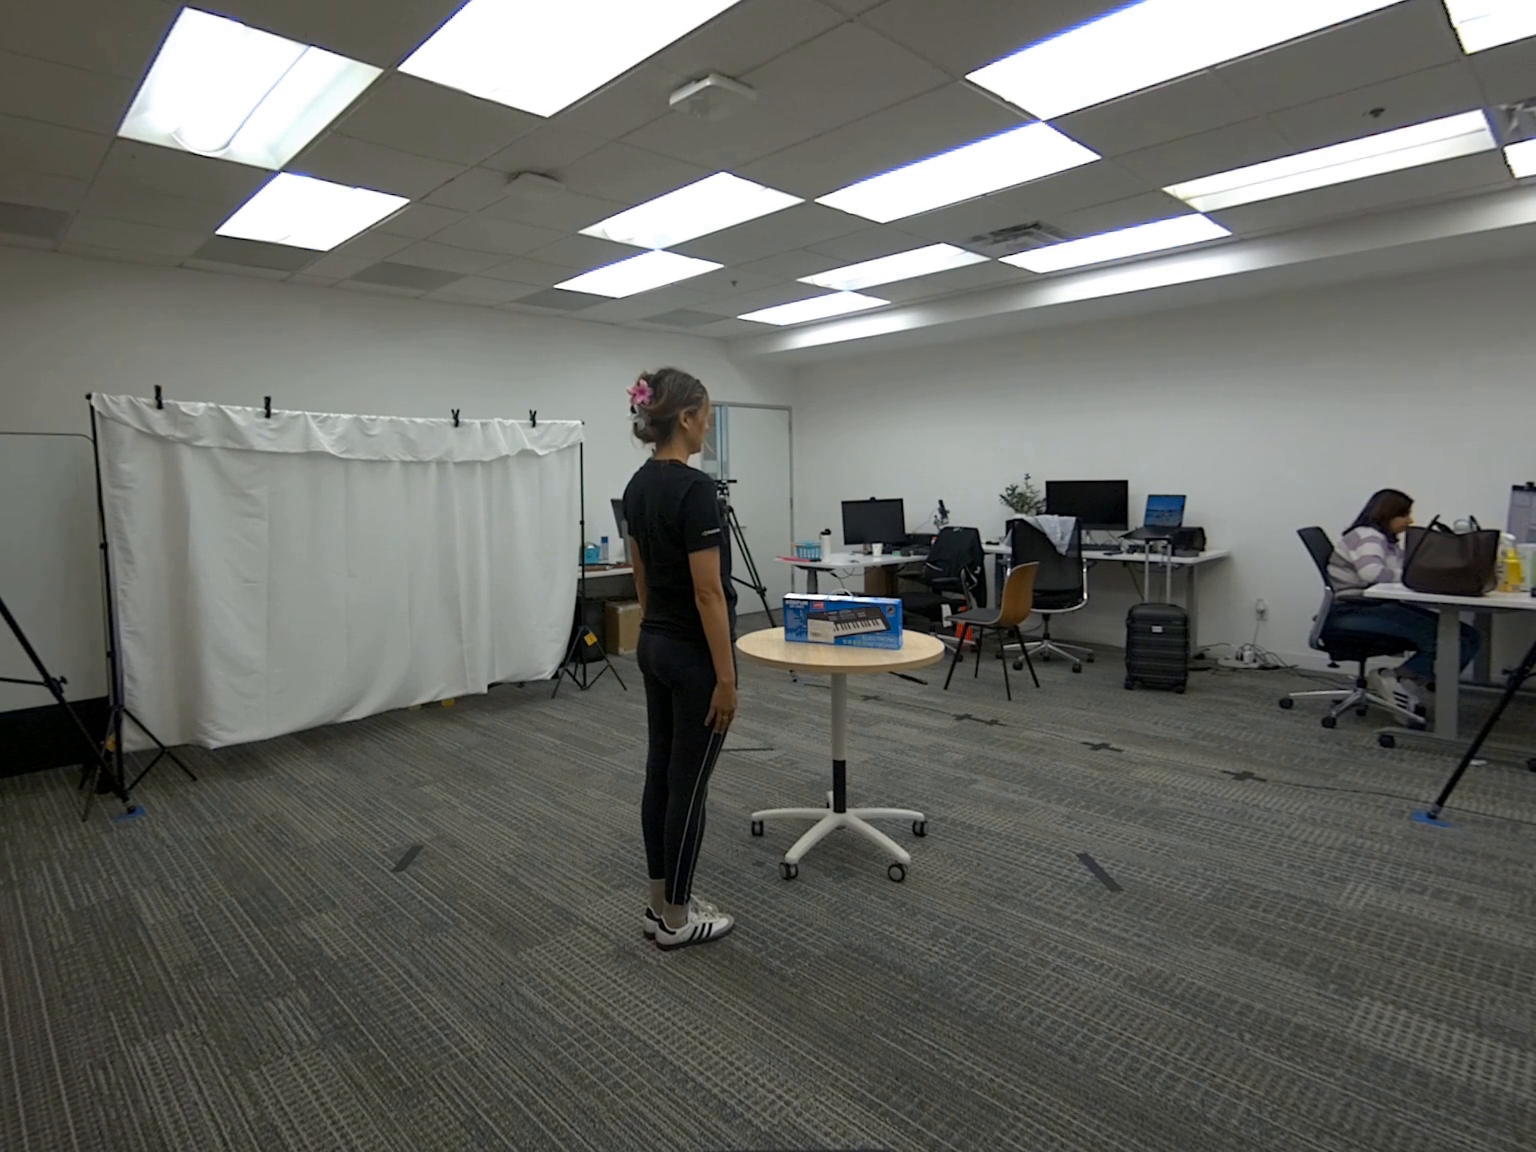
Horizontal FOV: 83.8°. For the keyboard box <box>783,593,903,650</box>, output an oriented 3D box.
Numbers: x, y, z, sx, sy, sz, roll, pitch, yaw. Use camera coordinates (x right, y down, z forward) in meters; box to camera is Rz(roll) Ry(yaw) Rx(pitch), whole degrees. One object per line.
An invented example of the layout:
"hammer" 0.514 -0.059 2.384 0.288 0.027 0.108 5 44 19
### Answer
"keyboard box" 0.272 0.165 3.140 0.447 0.174 0.058 2 11 24
